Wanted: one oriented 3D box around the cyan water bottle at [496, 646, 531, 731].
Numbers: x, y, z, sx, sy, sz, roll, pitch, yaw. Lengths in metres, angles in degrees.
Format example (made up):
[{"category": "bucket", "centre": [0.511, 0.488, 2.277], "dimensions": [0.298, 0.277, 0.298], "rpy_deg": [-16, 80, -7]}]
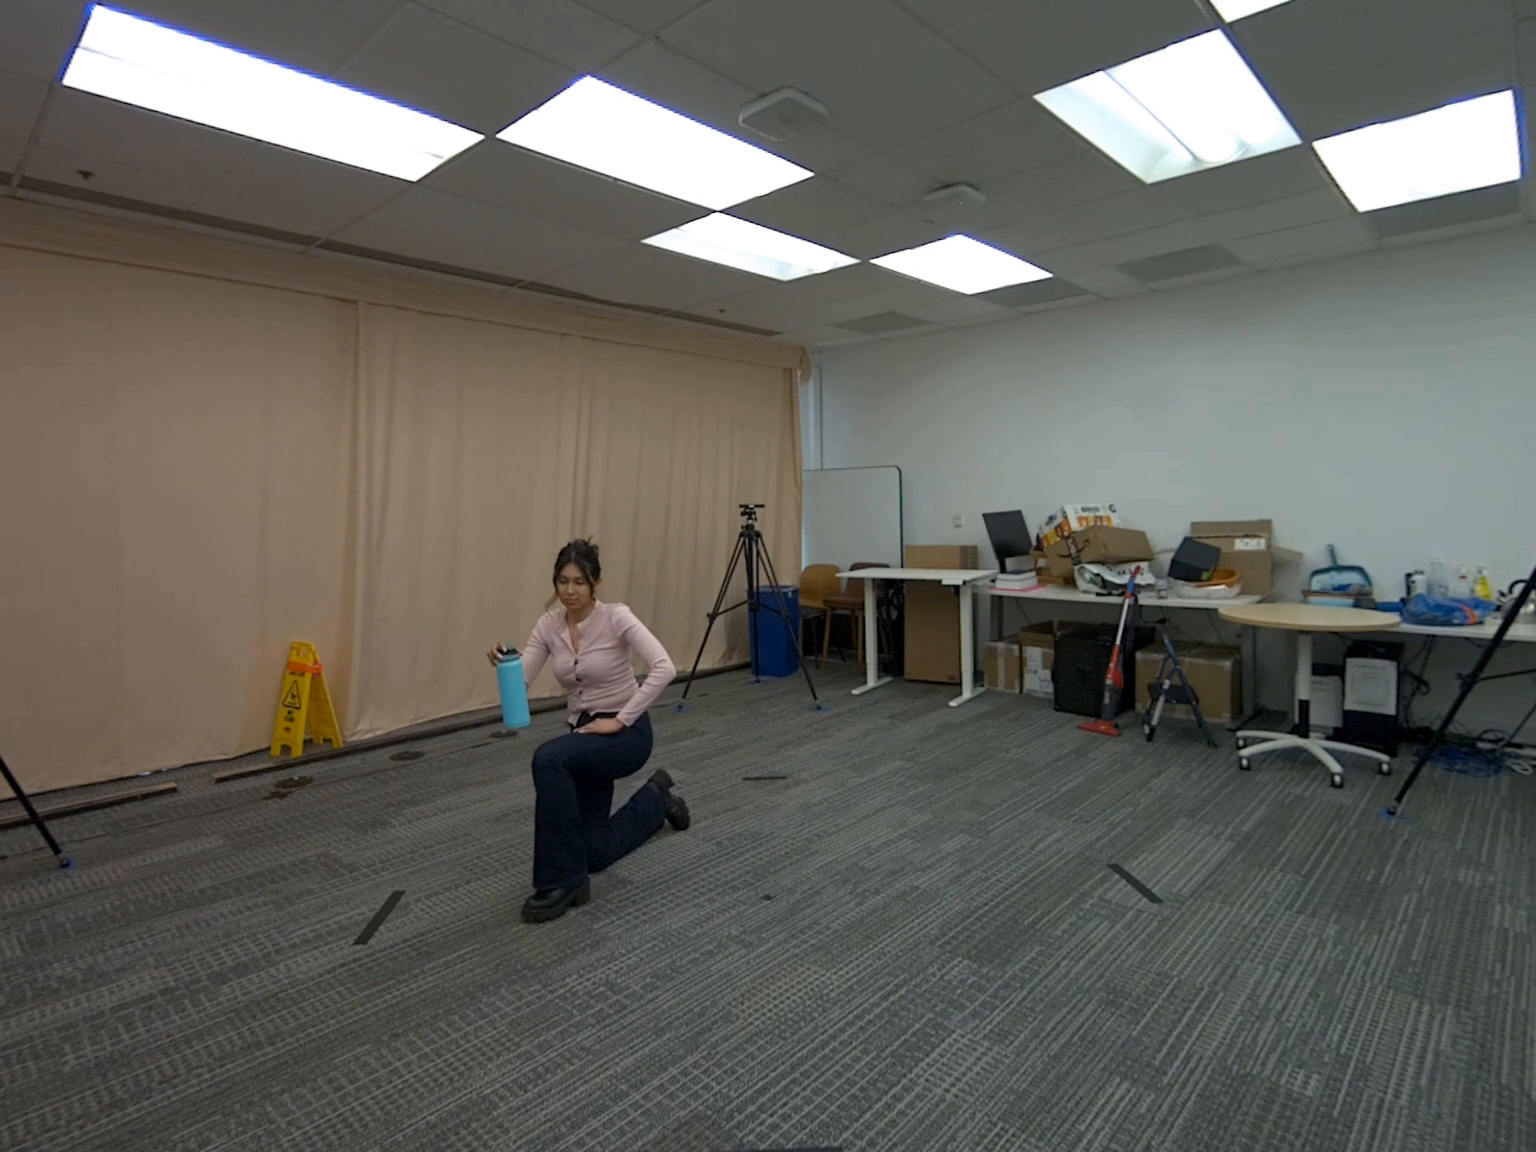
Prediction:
[{"category": "cyan water bottle", "centre": [-0.886, 0.375, 2.917], "dimensions": [0.092, 0.283, 0.092], "rpy_deg": [-2, 3, -2]}]
